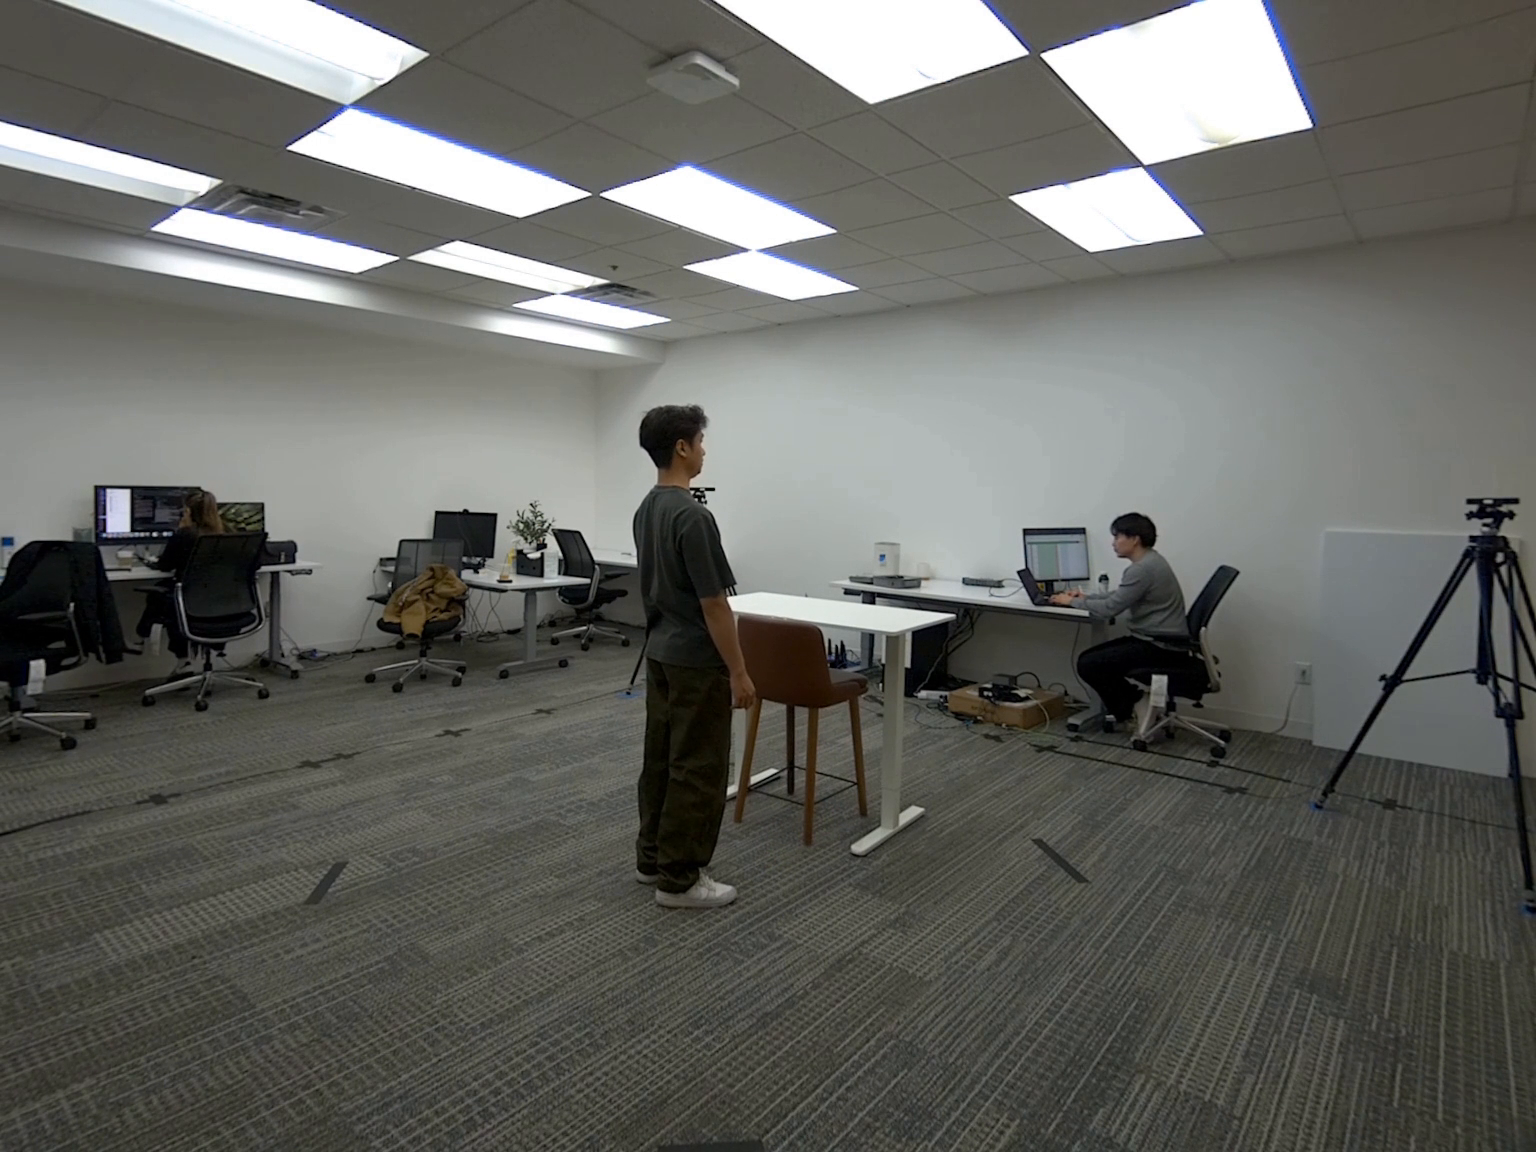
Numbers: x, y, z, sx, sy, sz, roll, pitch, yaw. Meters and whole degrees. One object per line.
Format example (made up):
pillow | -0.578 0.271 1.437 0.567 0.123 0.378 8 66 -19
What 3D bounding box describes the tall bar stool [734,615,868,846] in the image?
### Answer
tall bar stool | 0.131 0.592 3.587 0.471 0.886 0.454 4 6 37
